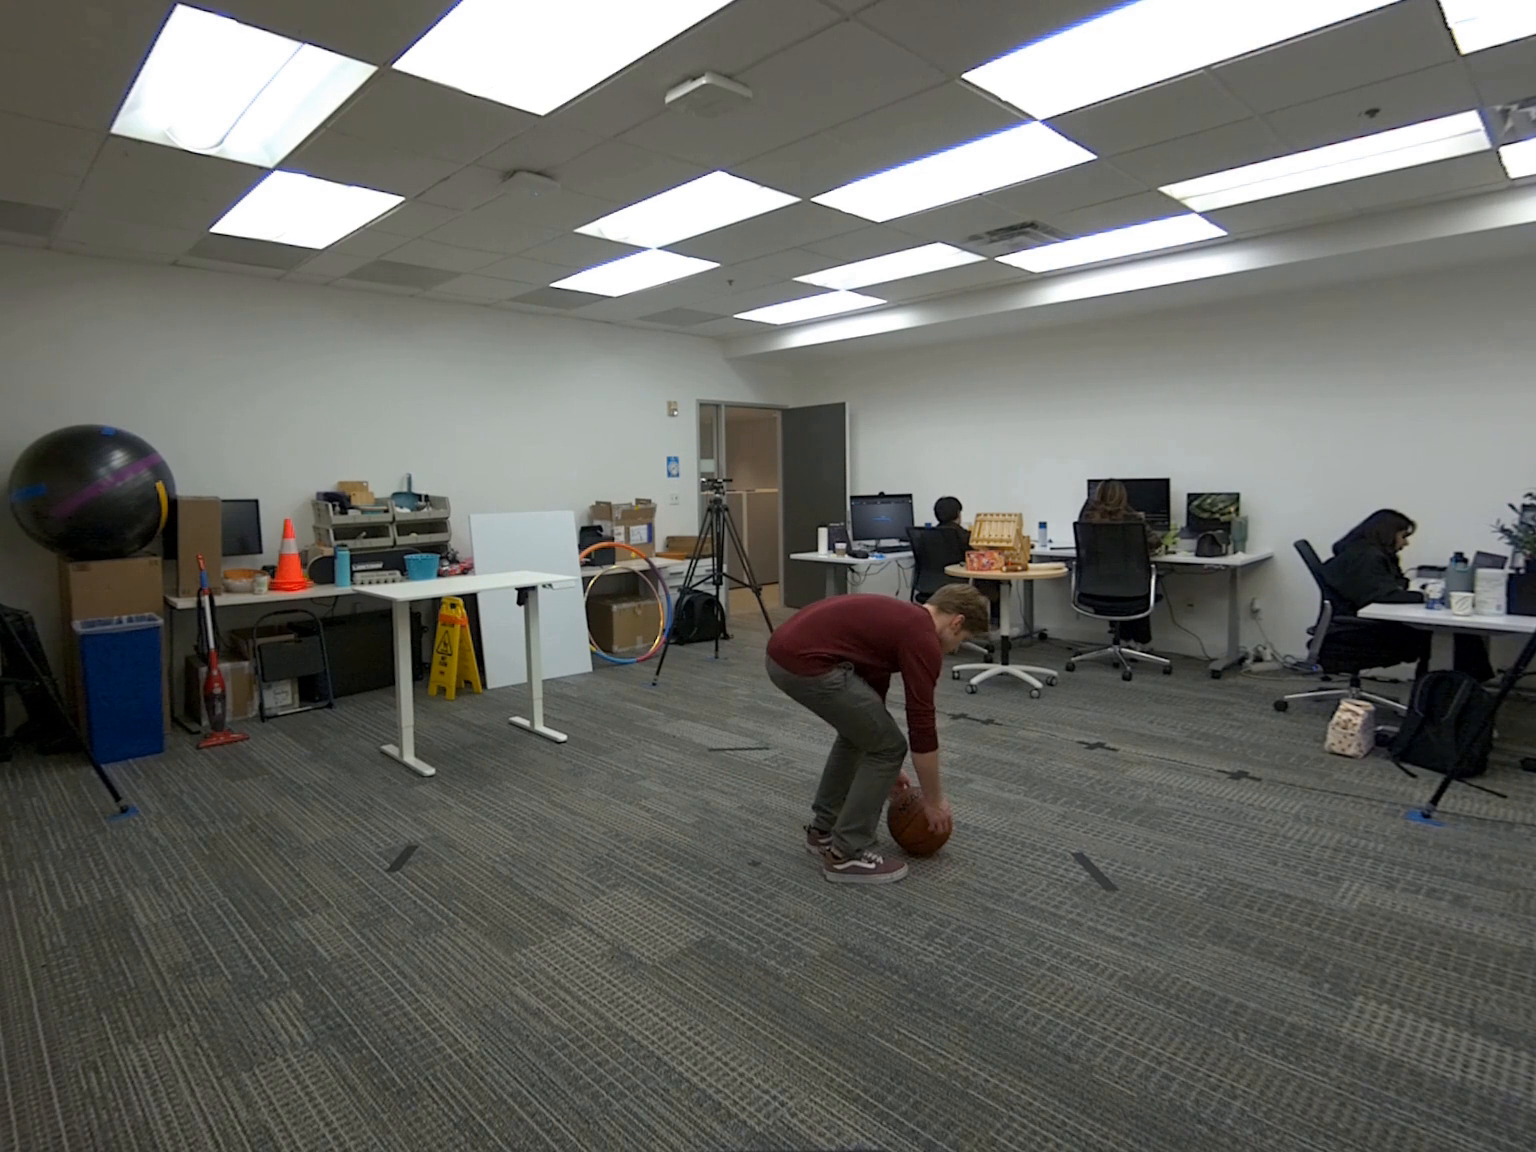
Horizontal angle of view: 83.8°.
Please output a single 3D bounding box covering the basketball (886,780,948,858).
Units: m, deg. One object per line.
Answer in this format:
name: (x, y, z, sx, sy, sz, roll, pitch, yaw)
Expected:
basketball: (0.567, 0.901, 3.172, 0.236, 0.235, 0.237, -1, 5, -2)
